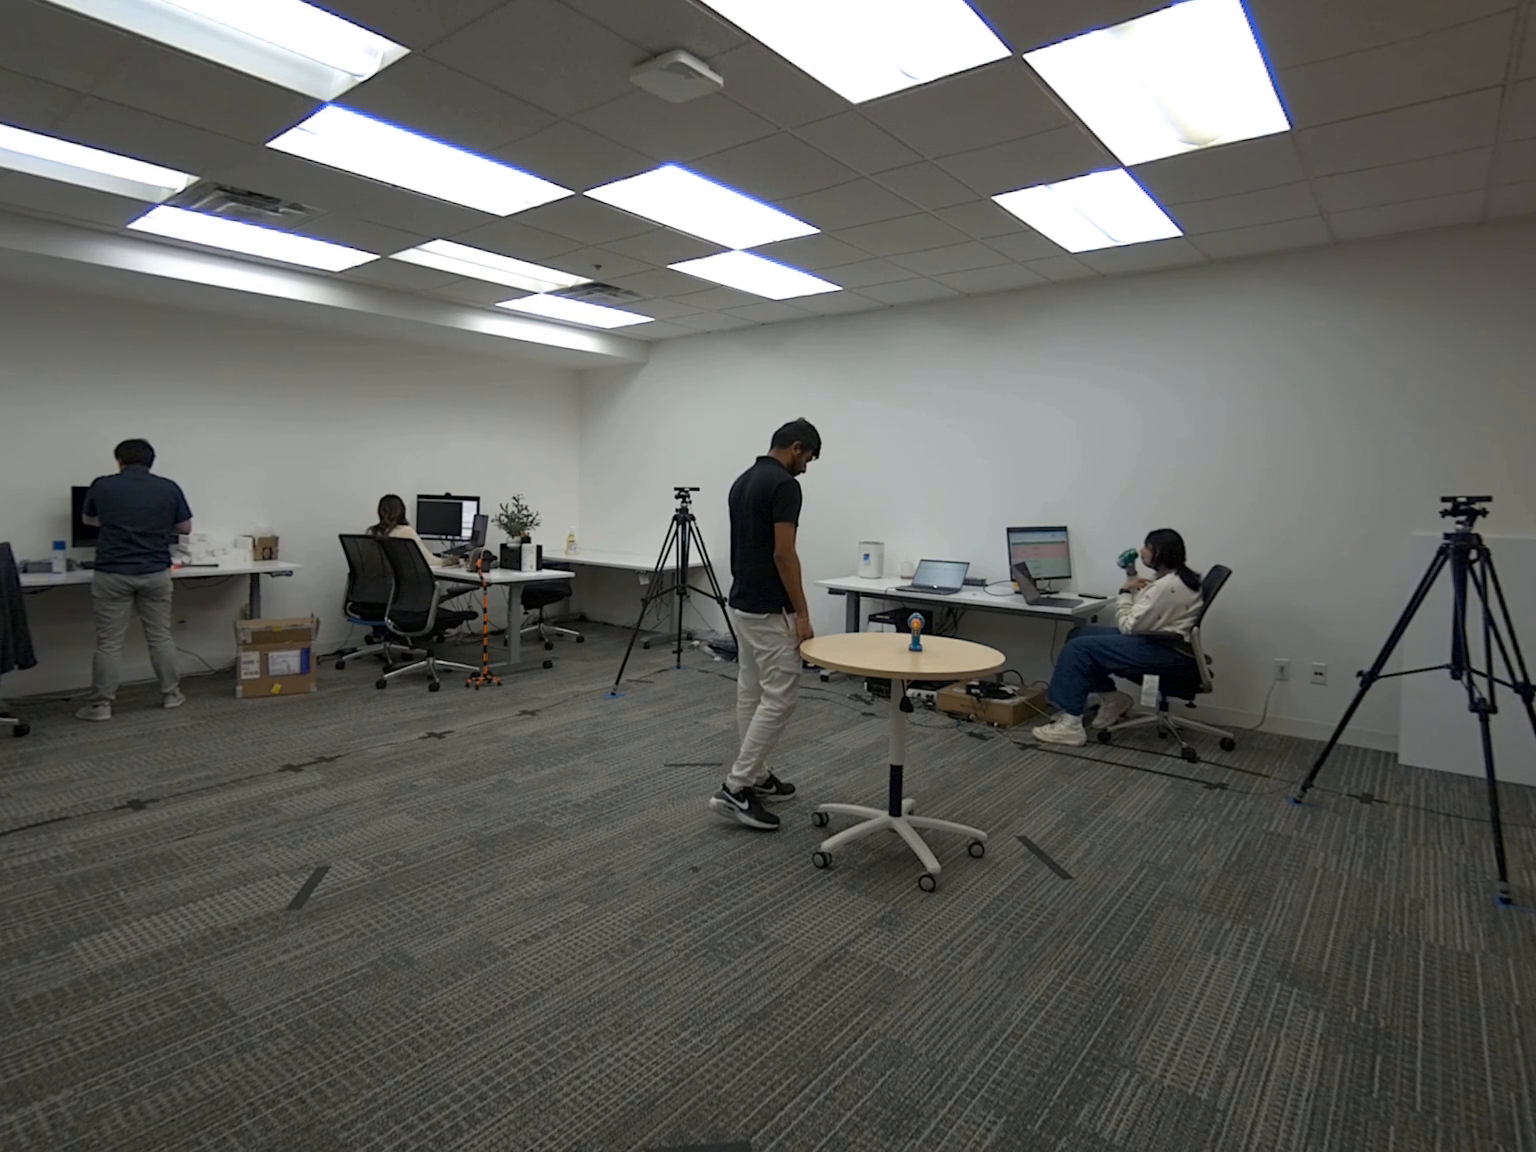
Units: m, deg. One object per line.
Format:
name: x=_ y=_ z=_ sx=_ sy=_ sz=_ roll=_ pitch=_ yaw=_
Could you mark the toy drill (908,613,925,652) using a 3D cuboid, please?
toy drill: x=0.561 y=0.213 z=3.237 sx=0.061 sy=0.145 sz=0.170 roll=3 pitch=4 yaw=2
